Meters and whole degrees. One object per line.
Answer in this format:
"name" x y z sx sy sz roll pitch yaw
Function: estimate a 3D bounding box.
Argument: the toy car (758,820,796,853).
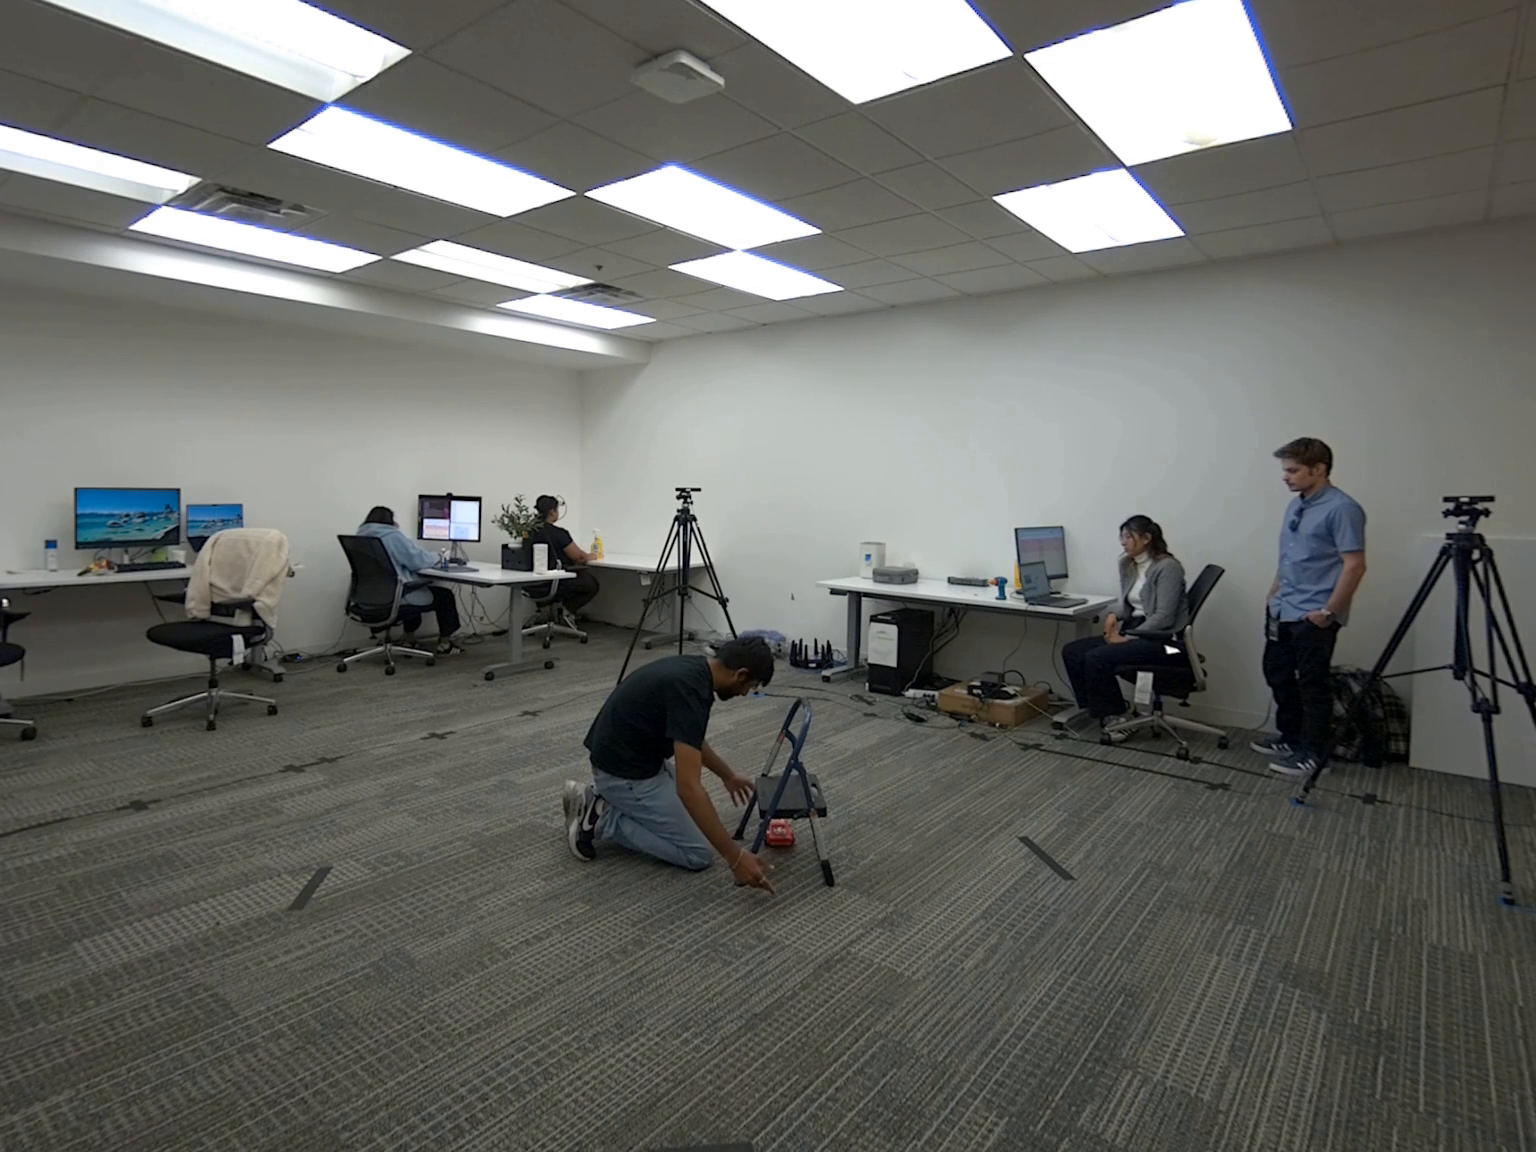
"toy car" 0.036 1.023 3.375 0.130 0.084 0.253 0 -6 -2
